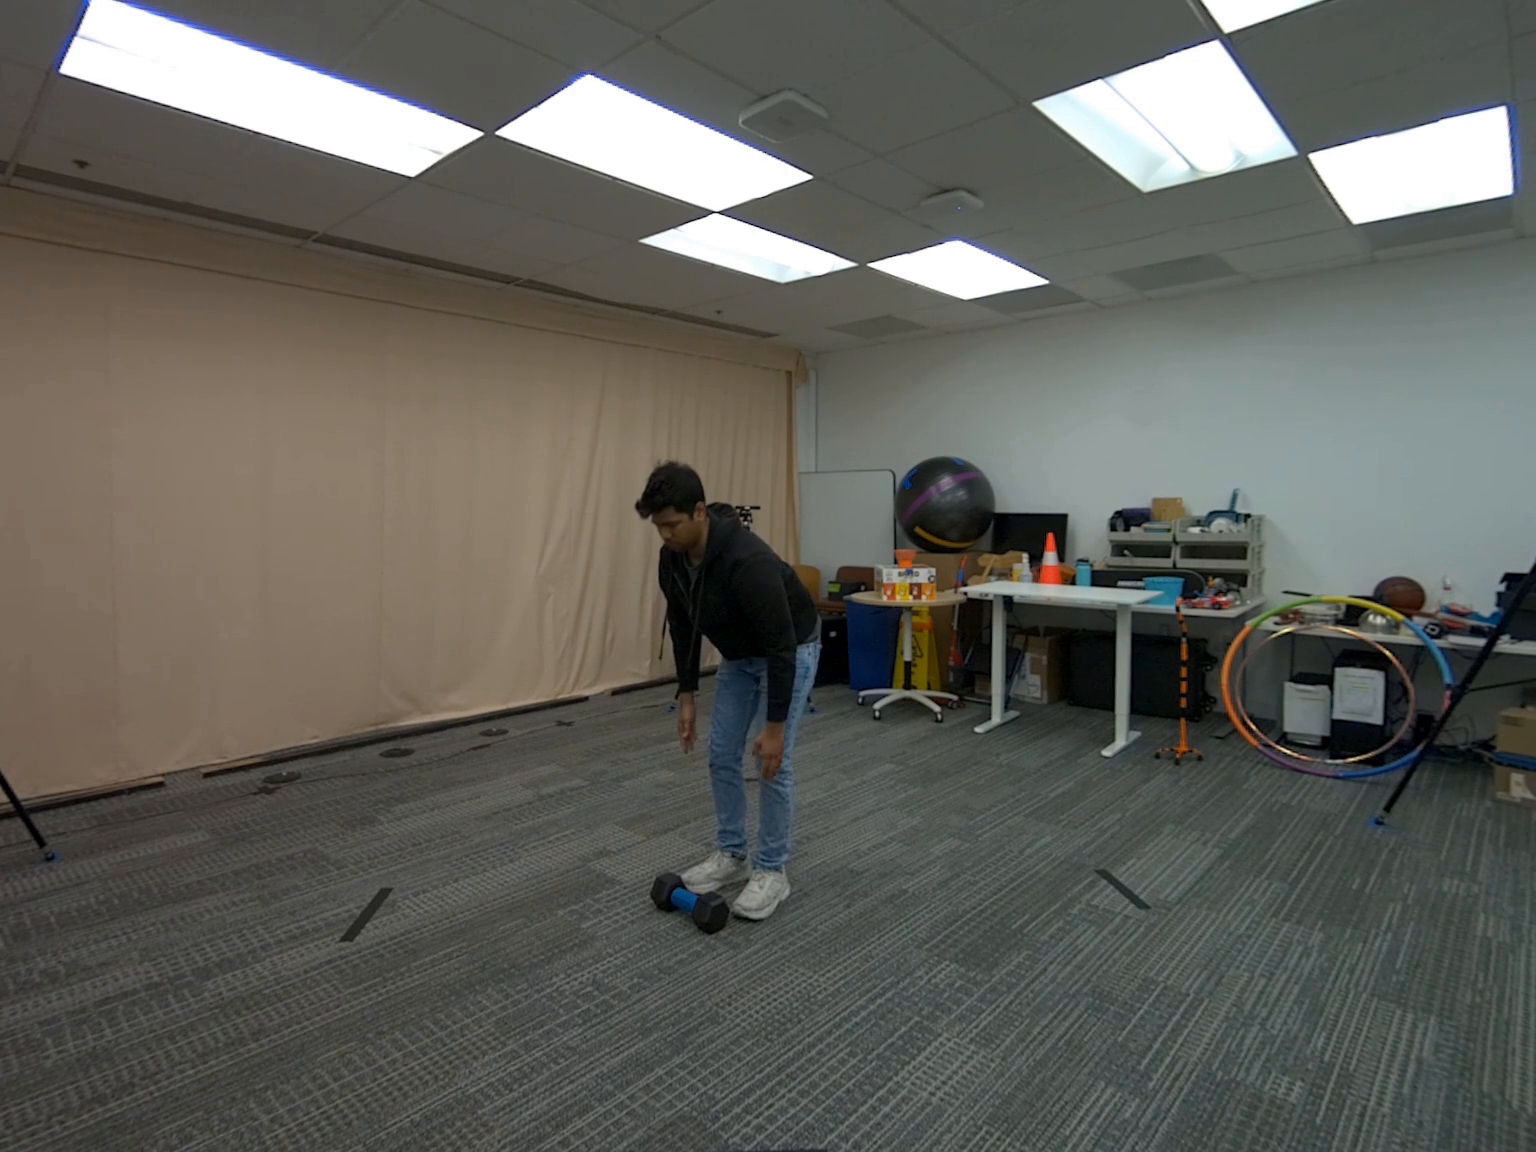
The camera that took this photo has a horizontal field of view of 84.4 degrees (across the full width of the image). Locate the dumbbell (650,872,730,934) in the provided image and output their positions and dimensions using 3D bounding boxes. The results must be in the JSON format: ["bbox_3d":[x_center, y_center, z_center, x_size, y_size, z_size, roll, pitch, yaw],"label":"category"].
[{"bbox_3d":[-0.262,1.101,2.844,0.303,0.120,0.108,3,38,44],"label":"dumbbell"}]
